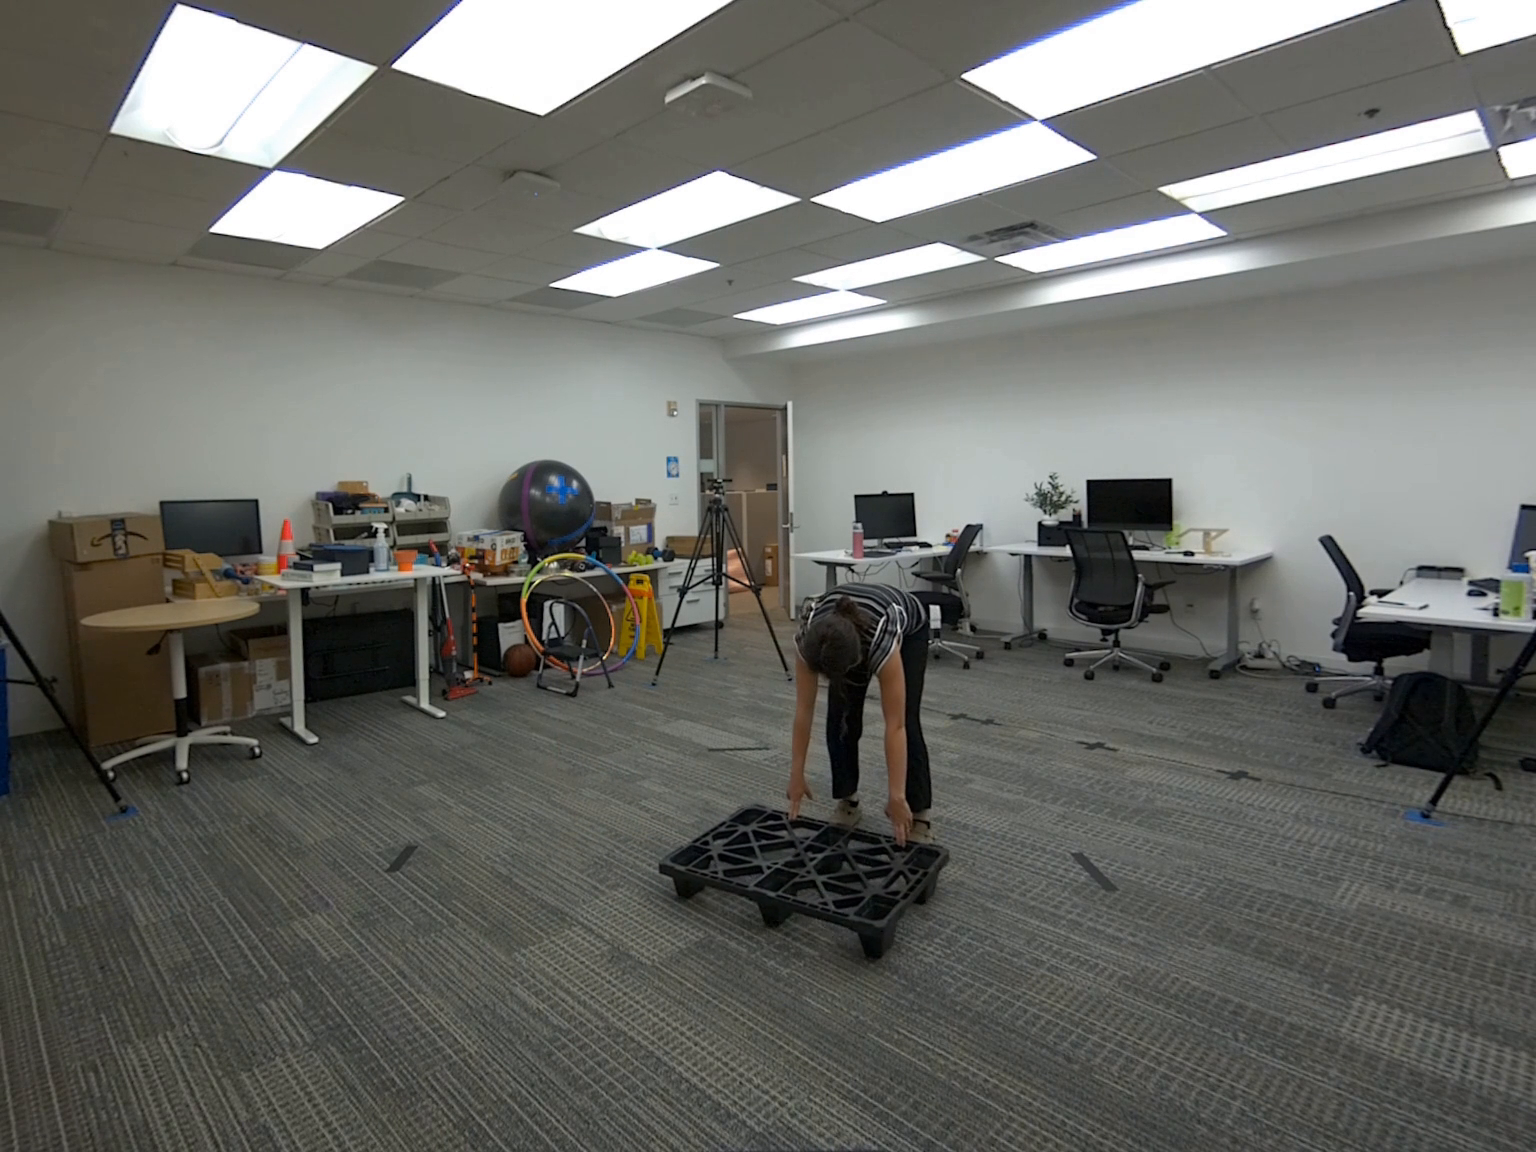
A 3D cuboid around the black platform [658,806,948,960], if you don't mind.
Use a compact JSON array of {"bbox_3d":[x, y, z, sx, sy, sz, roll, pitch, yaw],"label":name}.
[{"bbox_3d":[0.124,1.000,2.862,0.827,0.142,0.592,3,8,32],"label":"black platform"}]
